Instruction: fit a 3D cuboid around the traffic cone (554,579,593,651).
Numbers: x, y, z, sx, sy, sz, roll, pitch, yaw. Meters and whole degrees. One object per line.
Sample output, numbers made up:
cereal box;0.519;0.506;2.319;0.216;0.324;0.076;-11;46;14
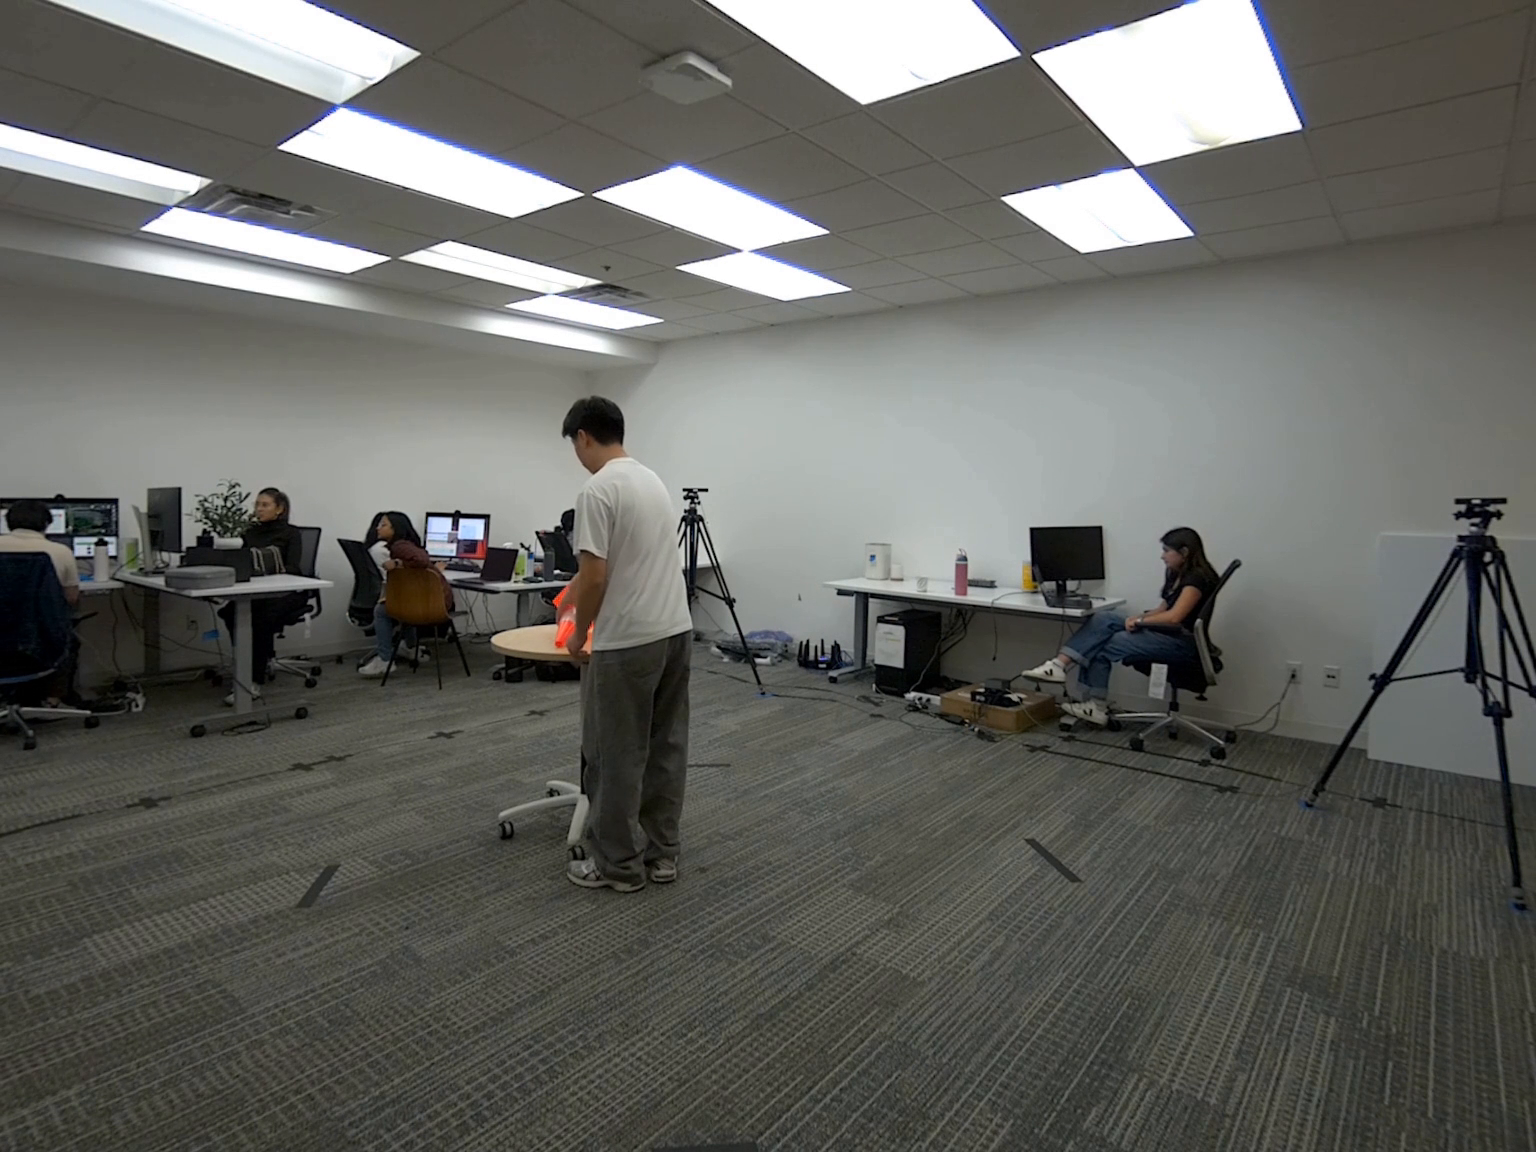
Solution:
traffic cone;-0.777;0.182;3.374;0.200;0.205;0.390;40;19;-13
